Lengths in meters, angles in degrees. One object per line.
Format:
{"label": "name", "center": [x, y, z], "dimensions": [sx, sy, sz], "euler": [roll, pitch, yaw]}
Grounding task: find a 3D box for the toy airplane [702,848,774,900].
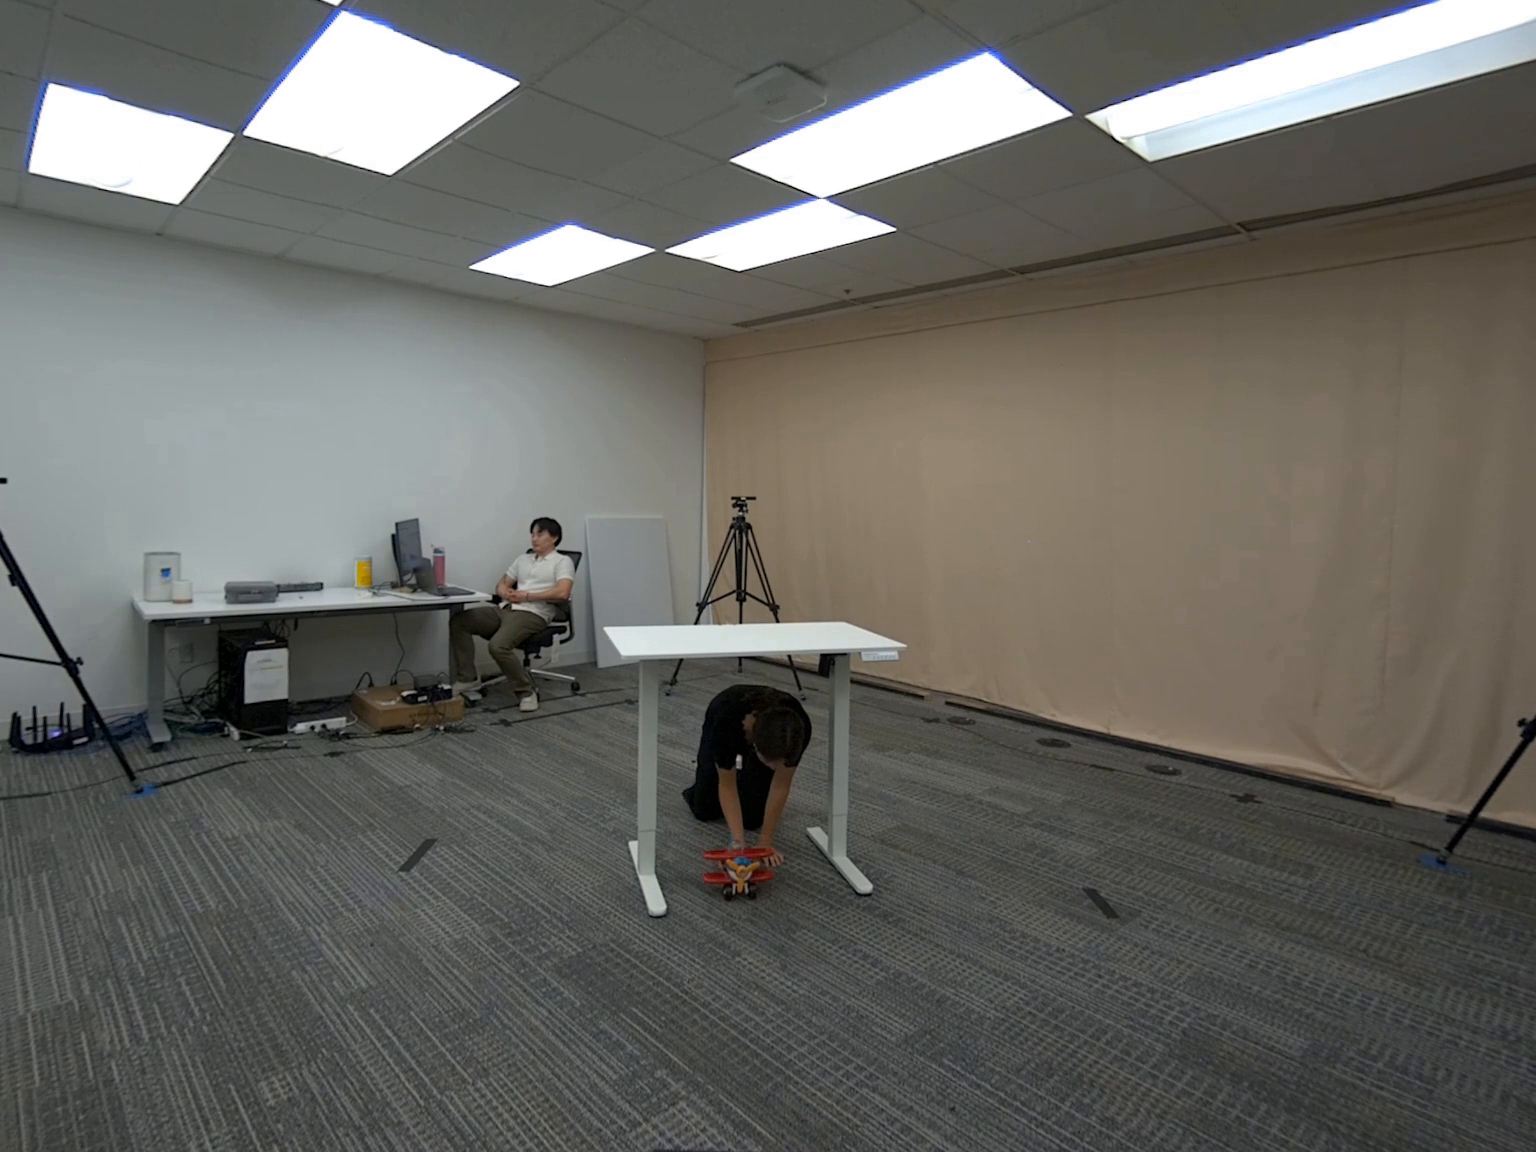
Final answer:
{"label": "toy airplane", "center": [-0.142, 1.037, 3.005], "dimensions": [0.246, 0.155, 0.266], "euler": [-5, 13, -38]}
